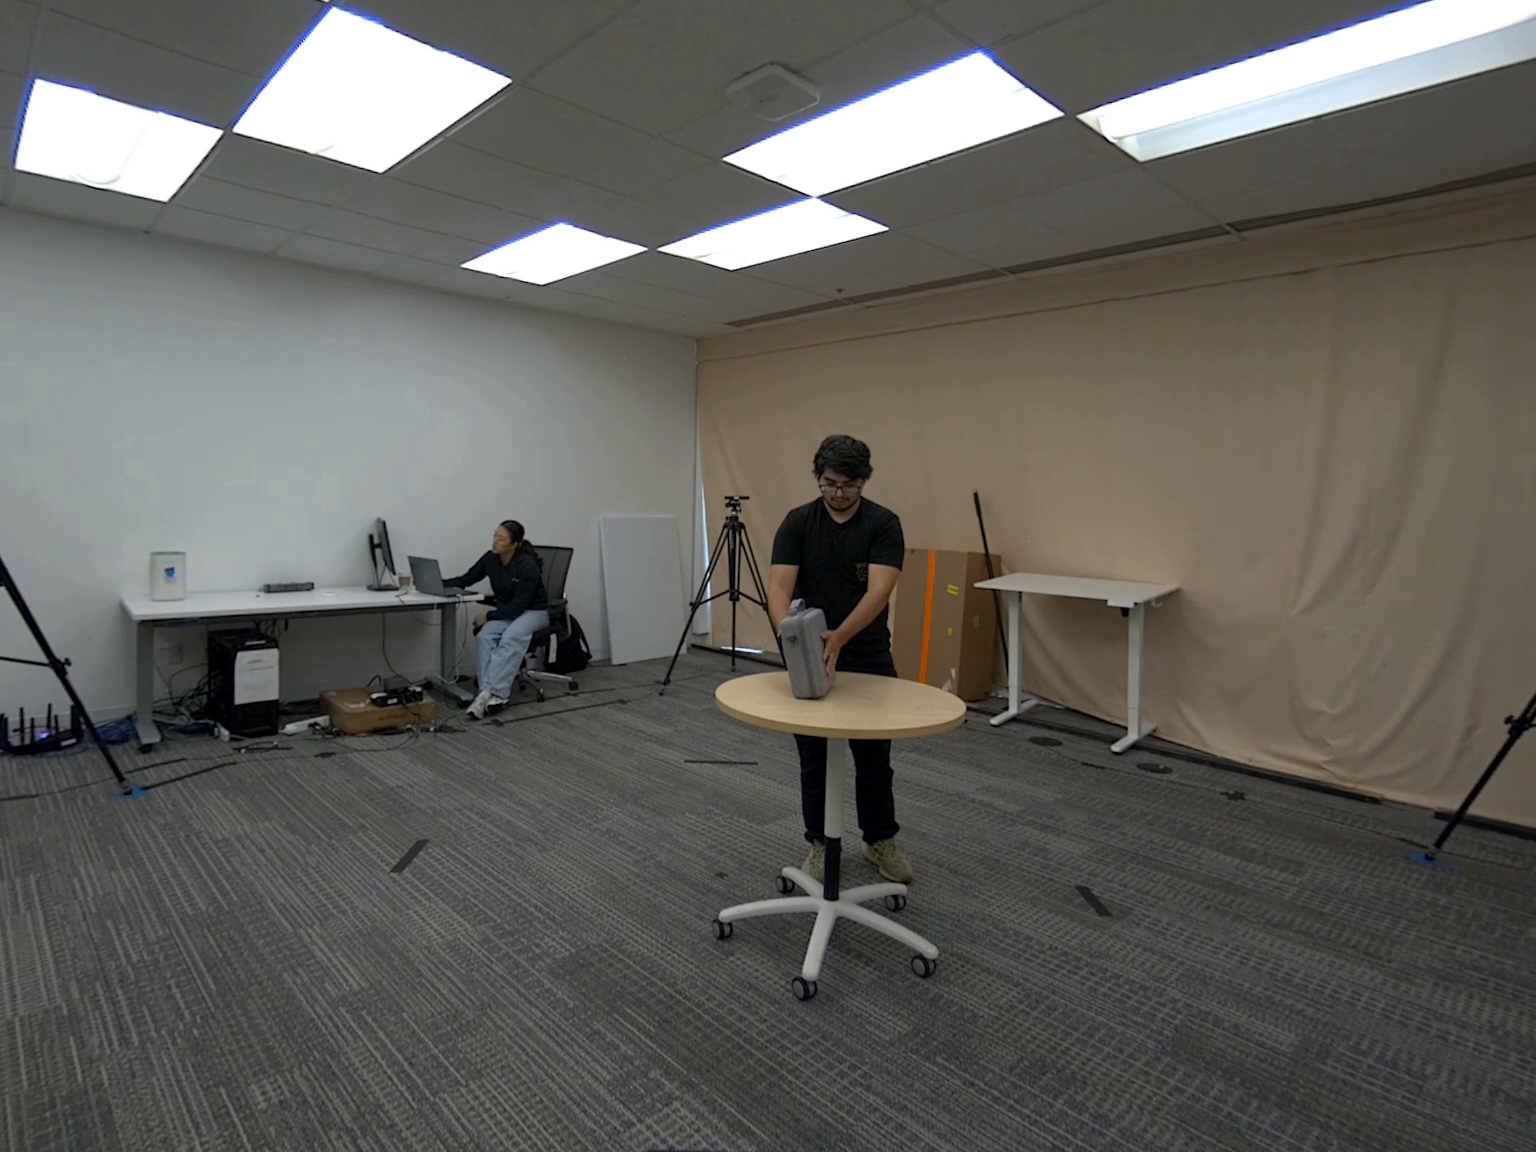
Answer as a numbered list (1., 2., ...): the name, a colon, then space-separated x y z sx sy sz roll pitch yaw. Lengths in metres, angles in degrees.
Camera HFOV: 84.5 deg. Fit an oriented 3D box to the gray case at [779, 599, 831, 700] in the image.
1. gray case: 0.113 0.237 2.647 0.105 0.261 0.254 -8 0 13
